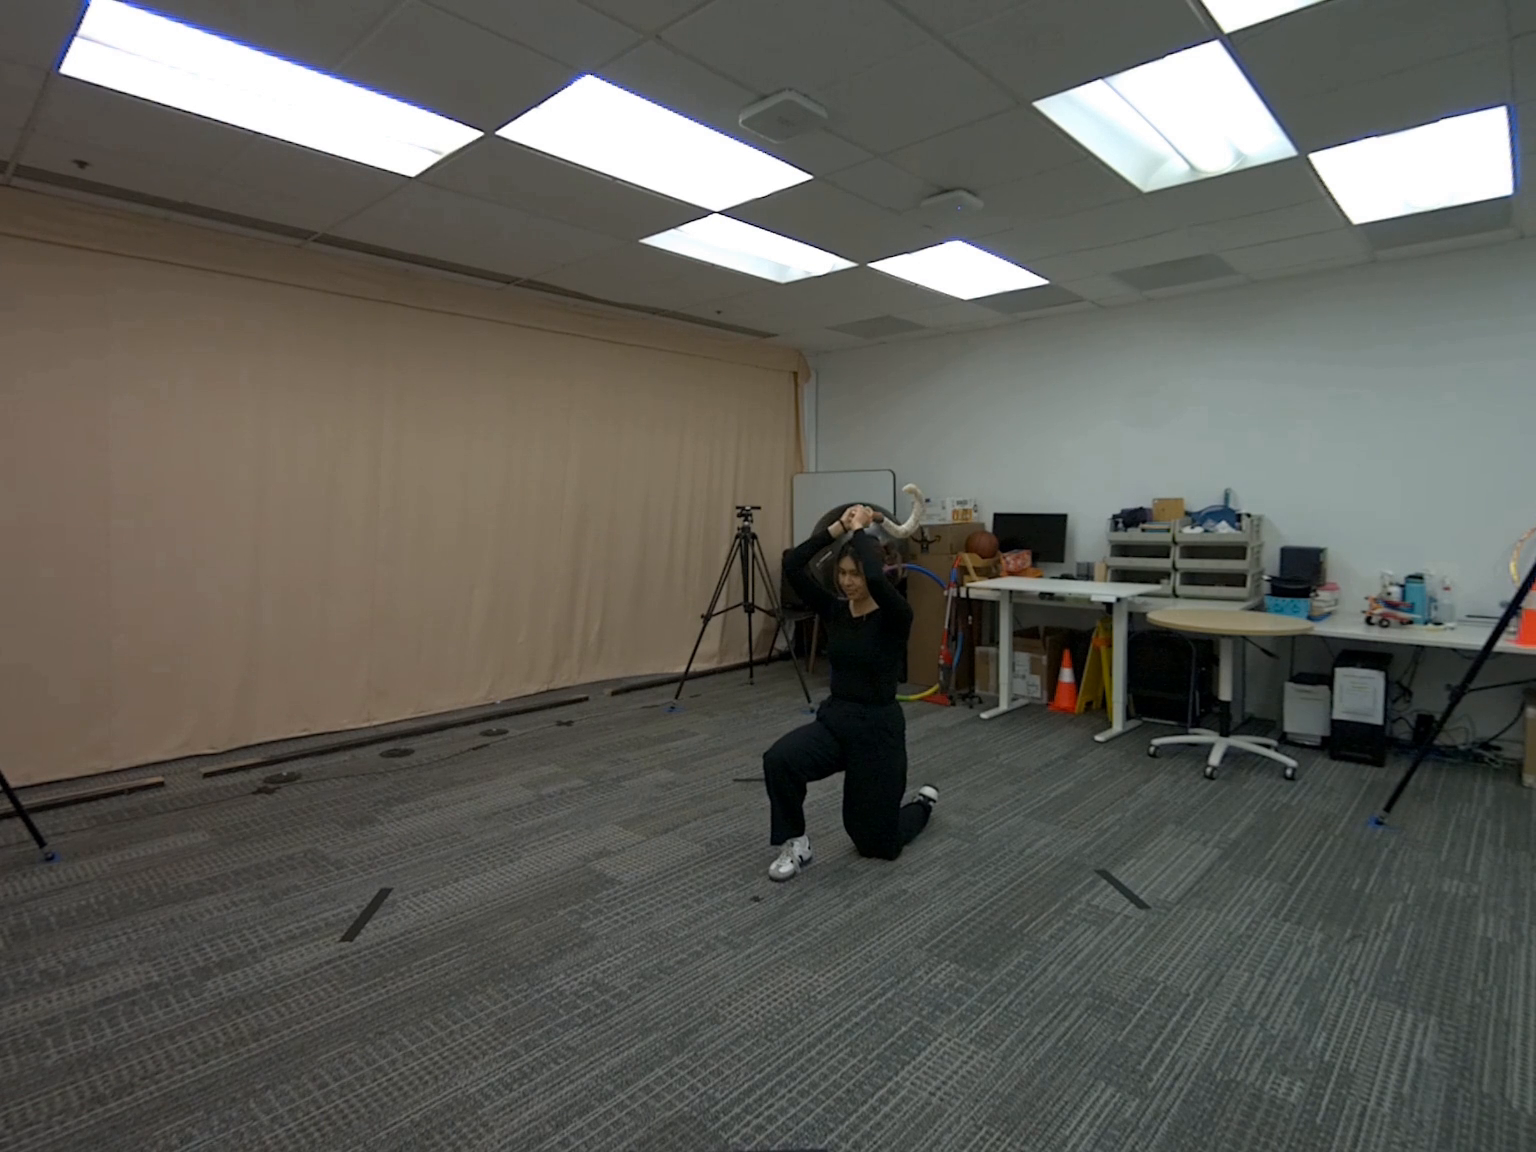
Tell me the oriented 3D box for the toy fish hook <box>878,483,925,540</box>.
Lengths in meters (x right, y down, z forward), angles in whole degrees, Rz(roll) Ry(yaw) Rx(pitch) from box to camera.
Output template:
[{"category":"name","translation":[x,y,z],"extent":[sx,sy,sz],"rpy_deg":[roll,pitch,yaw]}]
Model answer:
[{"category":"toy fish hook","translation":[0.472,-0.296,3.355],"extent":[0.050,0.224,0.490],"rpy_deg":[16,9,40]}]
